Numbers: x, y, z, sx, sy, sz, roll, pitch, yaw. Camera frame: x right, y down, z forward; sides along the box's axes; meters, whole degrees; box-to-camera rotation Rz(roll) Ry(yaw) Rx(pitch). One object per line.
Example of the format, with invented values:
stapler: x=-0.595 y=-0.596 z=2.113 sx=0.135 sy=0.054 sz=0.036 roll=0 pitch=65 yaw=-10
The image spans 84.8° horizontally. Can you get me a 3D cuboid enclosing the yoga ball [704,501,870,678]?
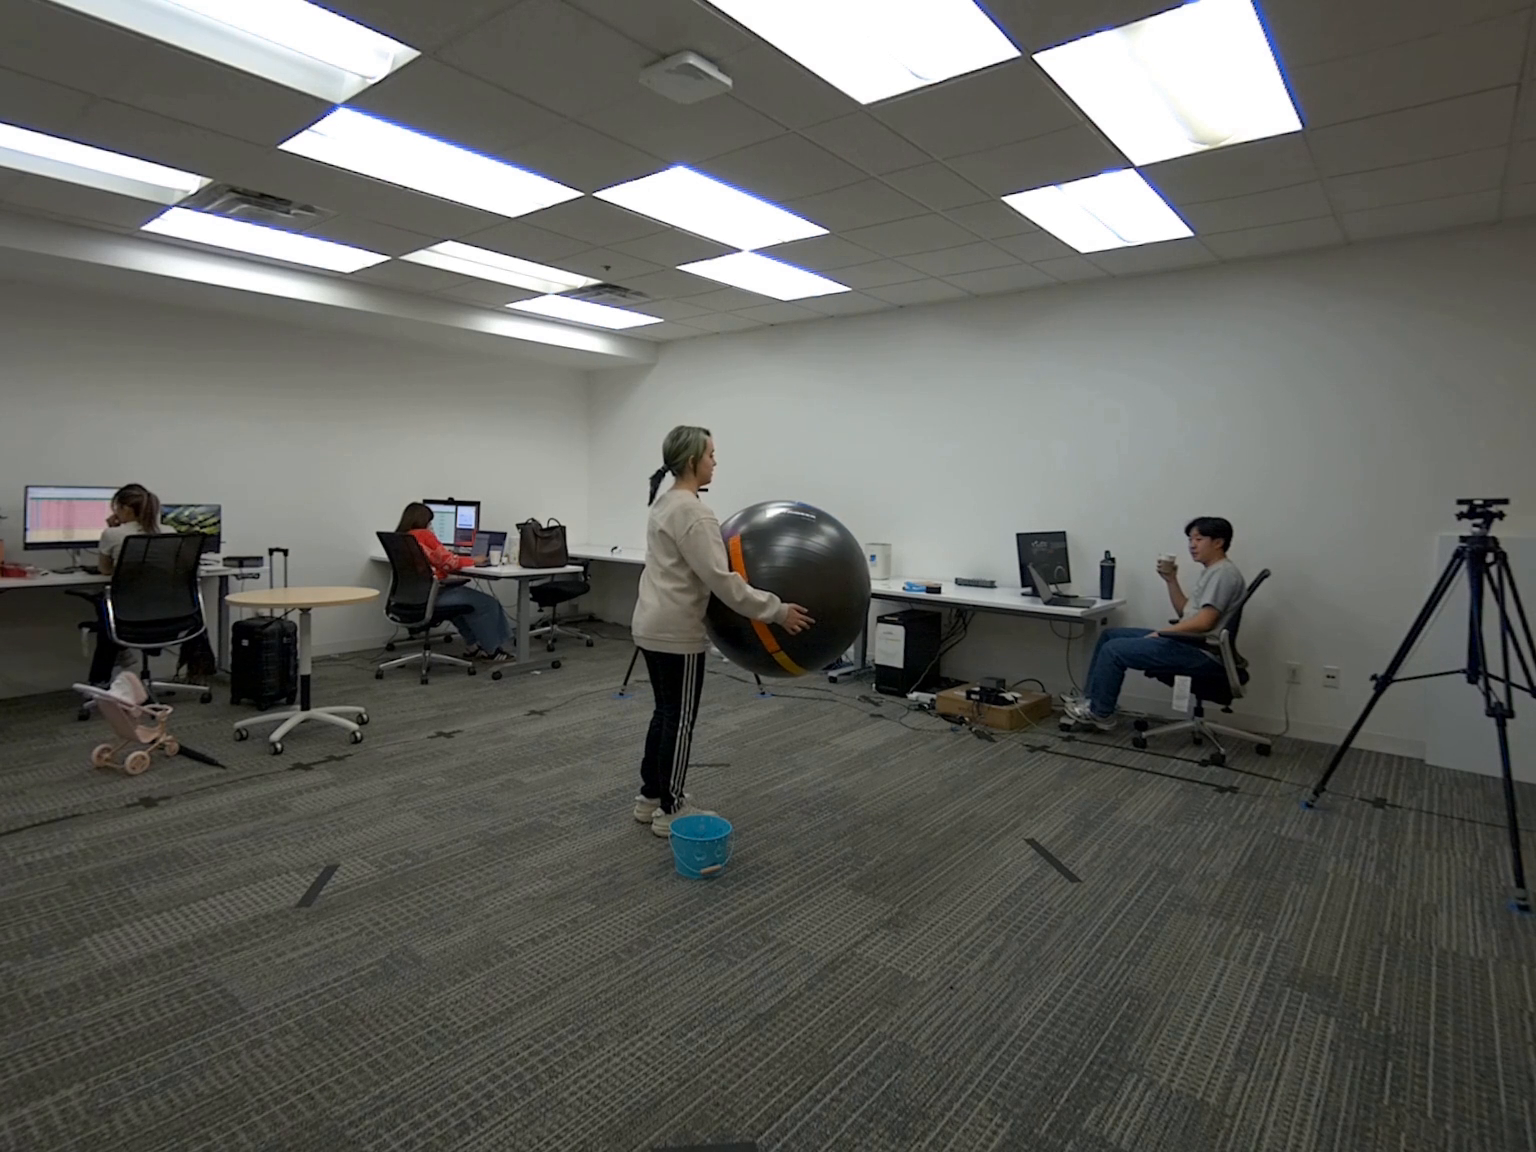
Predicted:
yoga ball: x=0.053 y=0.054 z=3.666 sx=0.757 sy=0.756 sz=0.762 roll=1 pitch=4 yaw=-2
